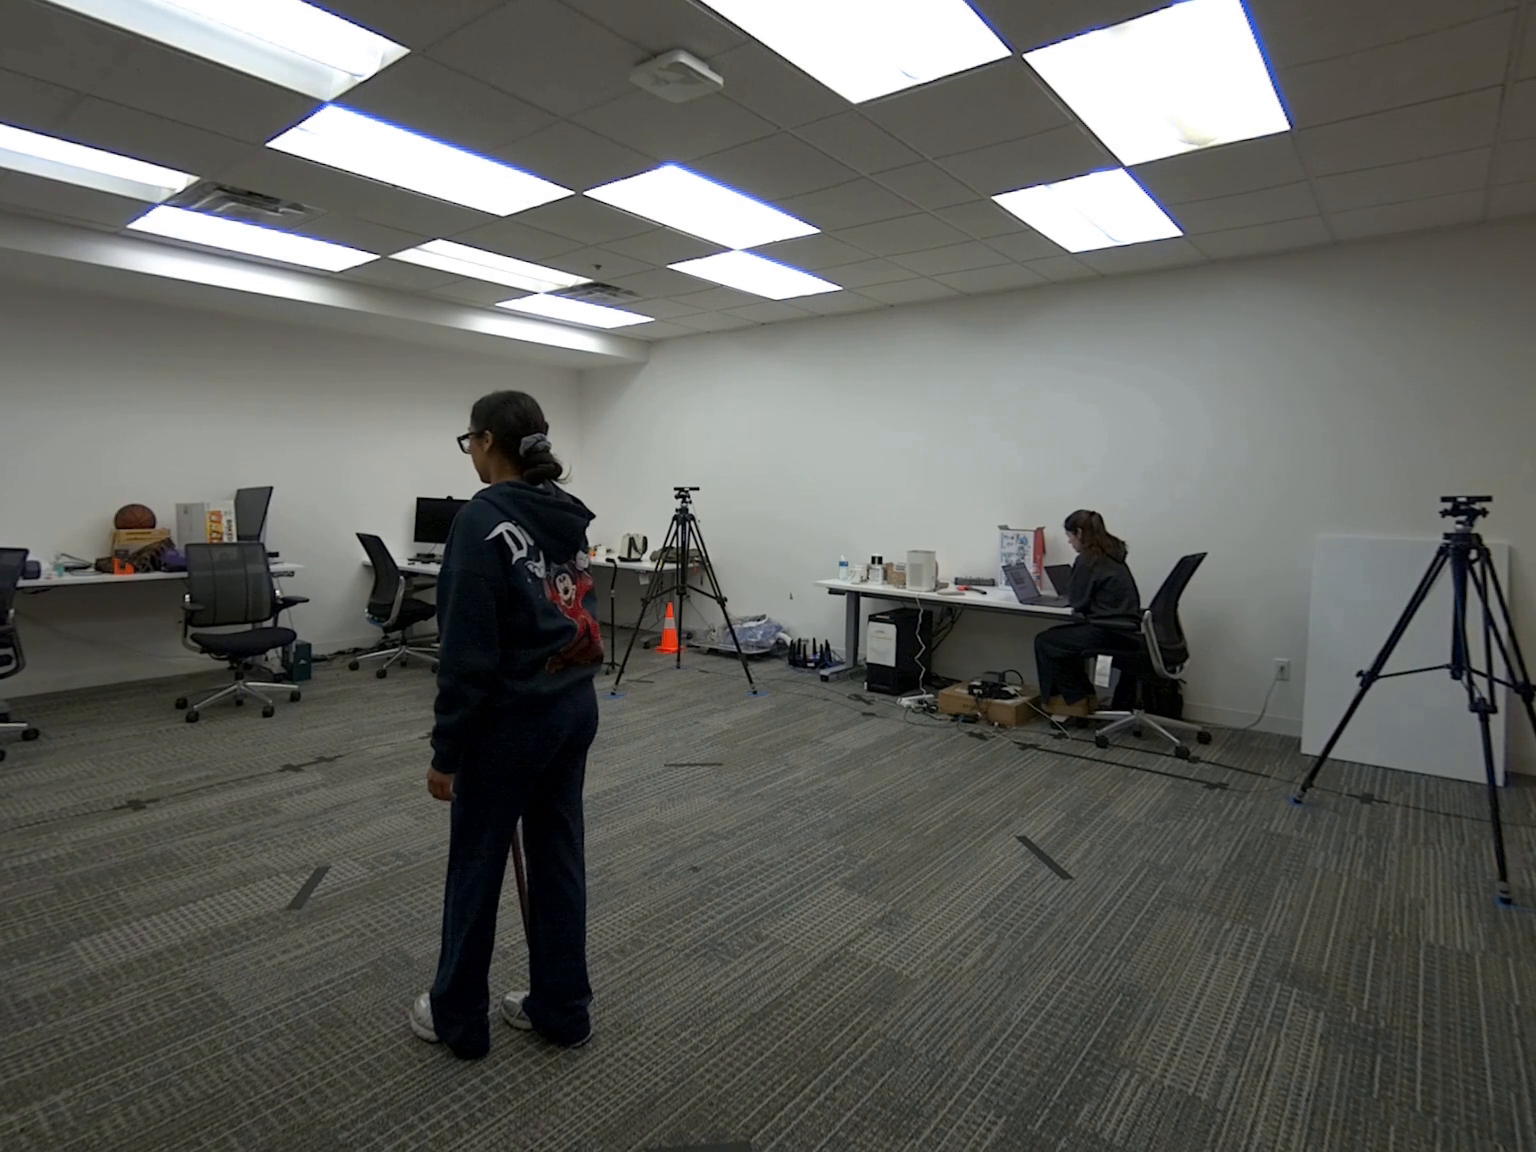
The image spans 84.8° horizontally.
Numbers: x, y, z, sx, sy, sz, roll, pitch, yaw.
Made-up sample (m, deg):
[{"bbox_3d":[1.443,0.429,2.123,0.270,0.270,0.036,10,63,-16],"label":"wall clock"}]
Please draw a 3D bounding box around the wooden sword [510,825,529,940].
[{"bbox_3d":[-0.750,0.627,2.487,0.024,1.023,0.050,-4,1,22],"label":"wooden sword"}]
